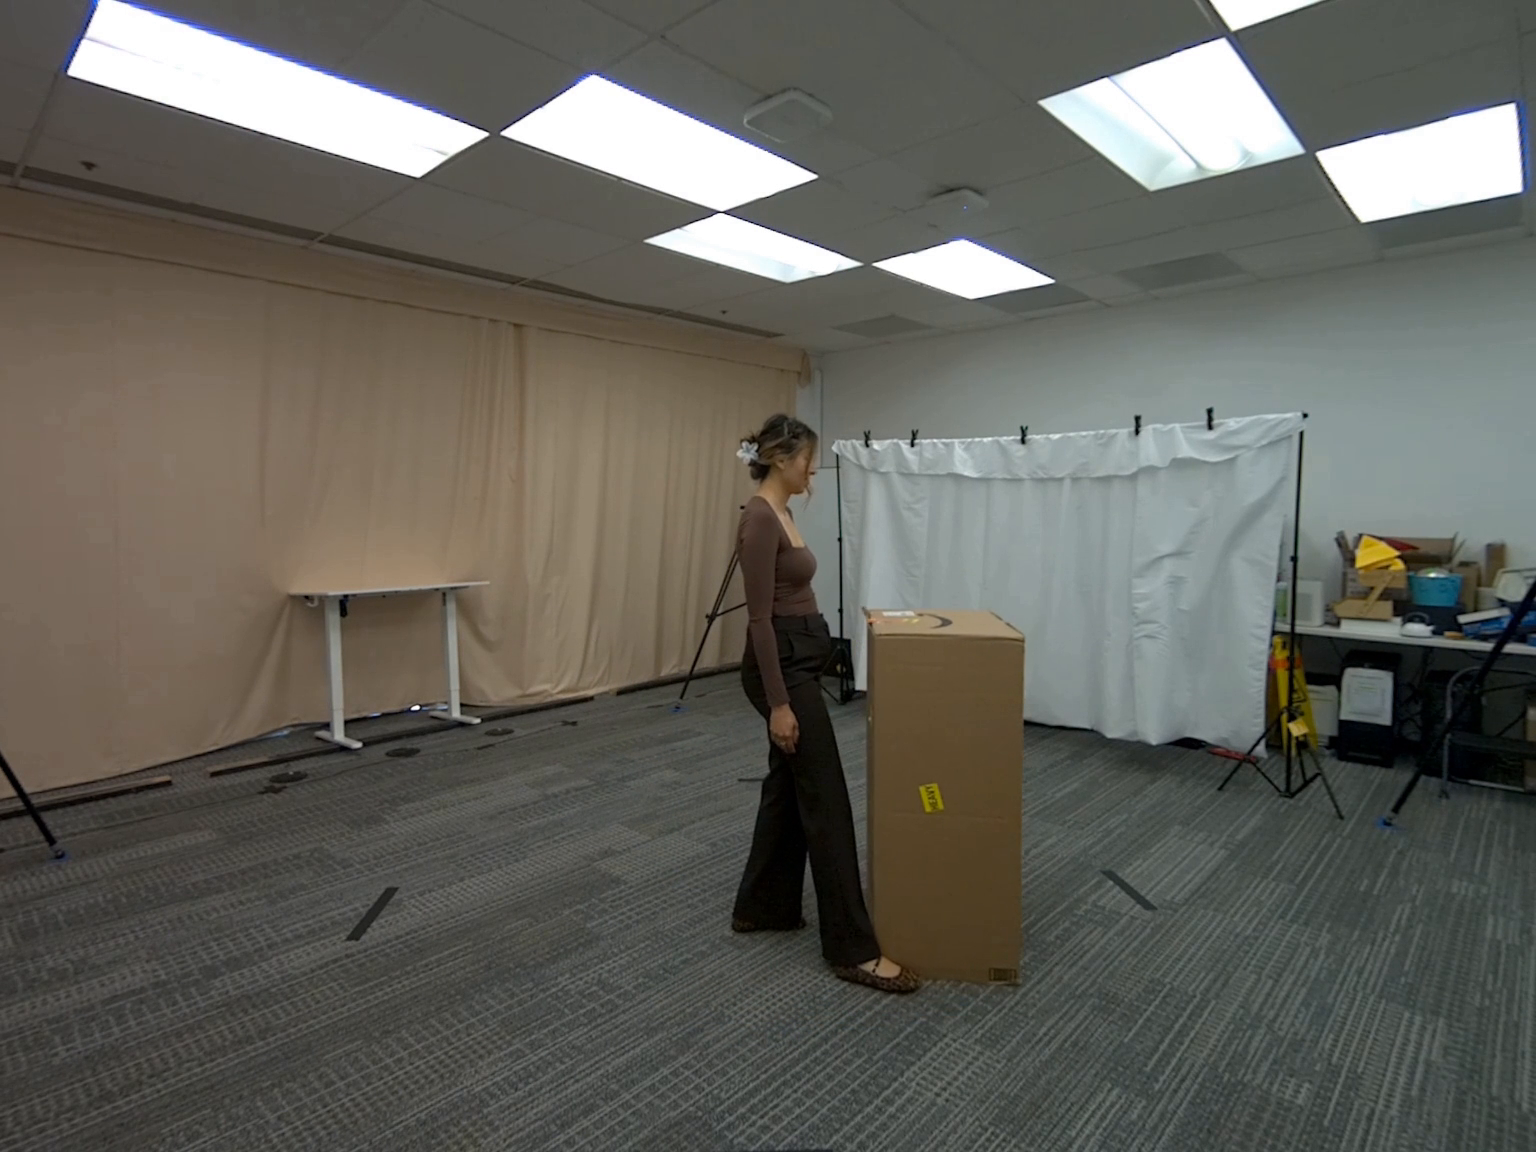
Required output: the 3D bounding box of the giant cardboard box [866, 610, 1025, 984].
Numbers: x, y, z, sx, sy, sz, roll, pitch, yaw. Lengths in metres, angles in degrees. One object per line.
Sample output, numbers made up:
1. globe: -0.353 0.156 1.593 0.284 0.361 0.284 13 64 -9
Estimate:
1. giant cardboard box: 0.551 0.653 2.721 0.451 1.025 0.580 0 3 7
